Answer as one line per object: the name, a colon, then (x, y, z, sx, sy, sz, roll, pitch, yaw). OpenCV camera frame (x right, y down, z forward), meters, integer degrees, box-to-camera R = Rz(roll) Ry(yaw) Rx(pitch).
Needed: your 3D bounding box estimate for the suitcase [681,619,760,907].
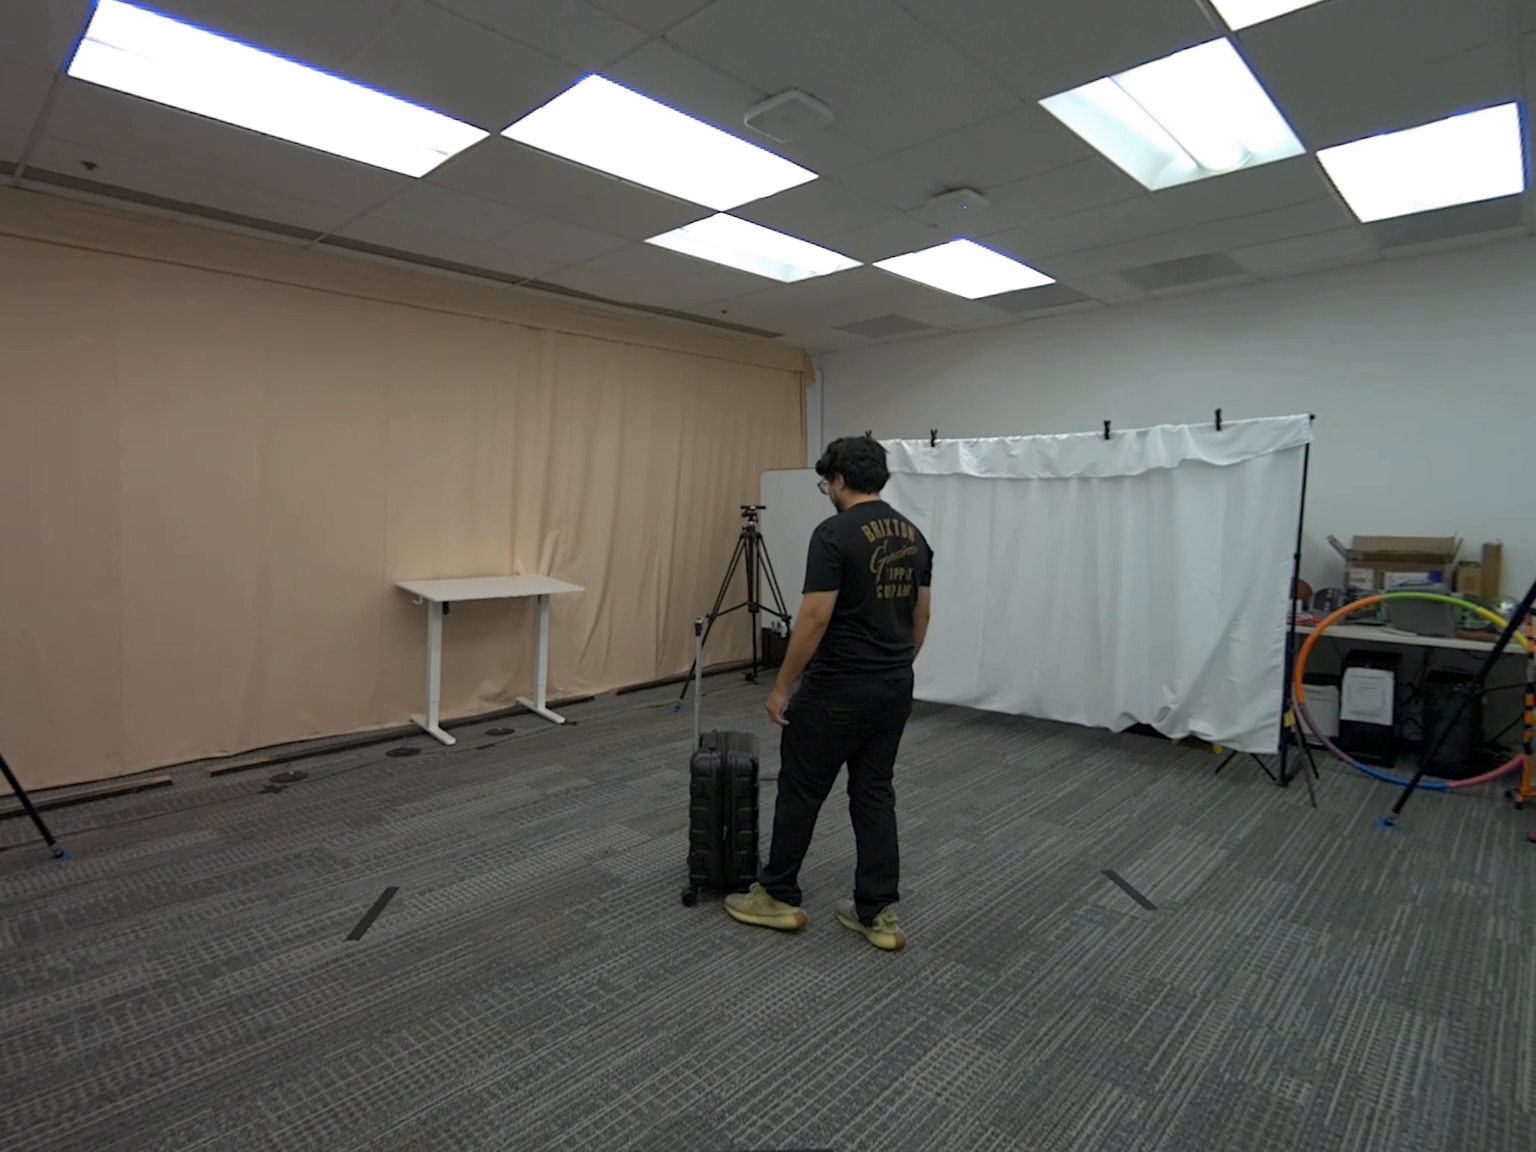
suitcase: (-0.152, 0.655, 3.072, 0.258, 0.977, 0.384, 2, 3, 1)
